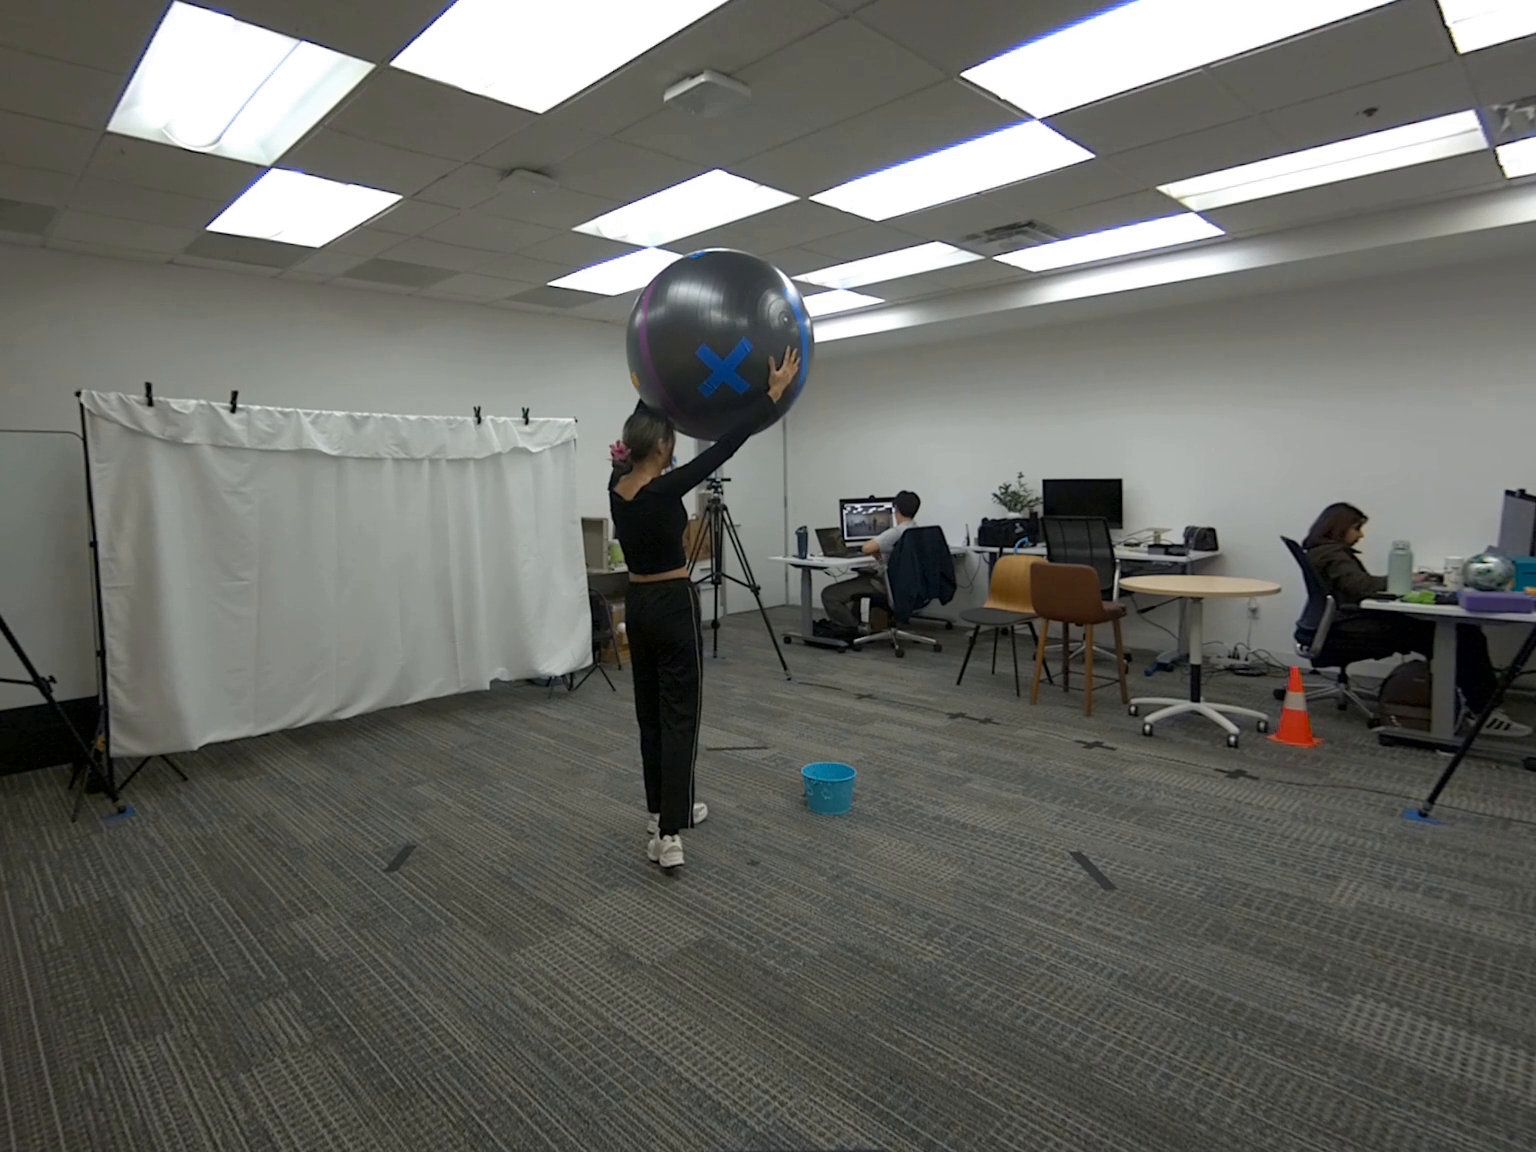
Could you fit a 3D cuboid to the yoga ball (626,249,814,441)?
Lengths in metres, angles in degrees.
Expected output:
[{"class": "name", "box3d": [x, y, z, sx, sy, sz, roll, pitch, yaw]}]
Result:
[{"class": "yoga ball", "box3d": [-0.191, -0.916, 3.439, 0.757, 0.755, 0.762, -1, 5, -2]}]
